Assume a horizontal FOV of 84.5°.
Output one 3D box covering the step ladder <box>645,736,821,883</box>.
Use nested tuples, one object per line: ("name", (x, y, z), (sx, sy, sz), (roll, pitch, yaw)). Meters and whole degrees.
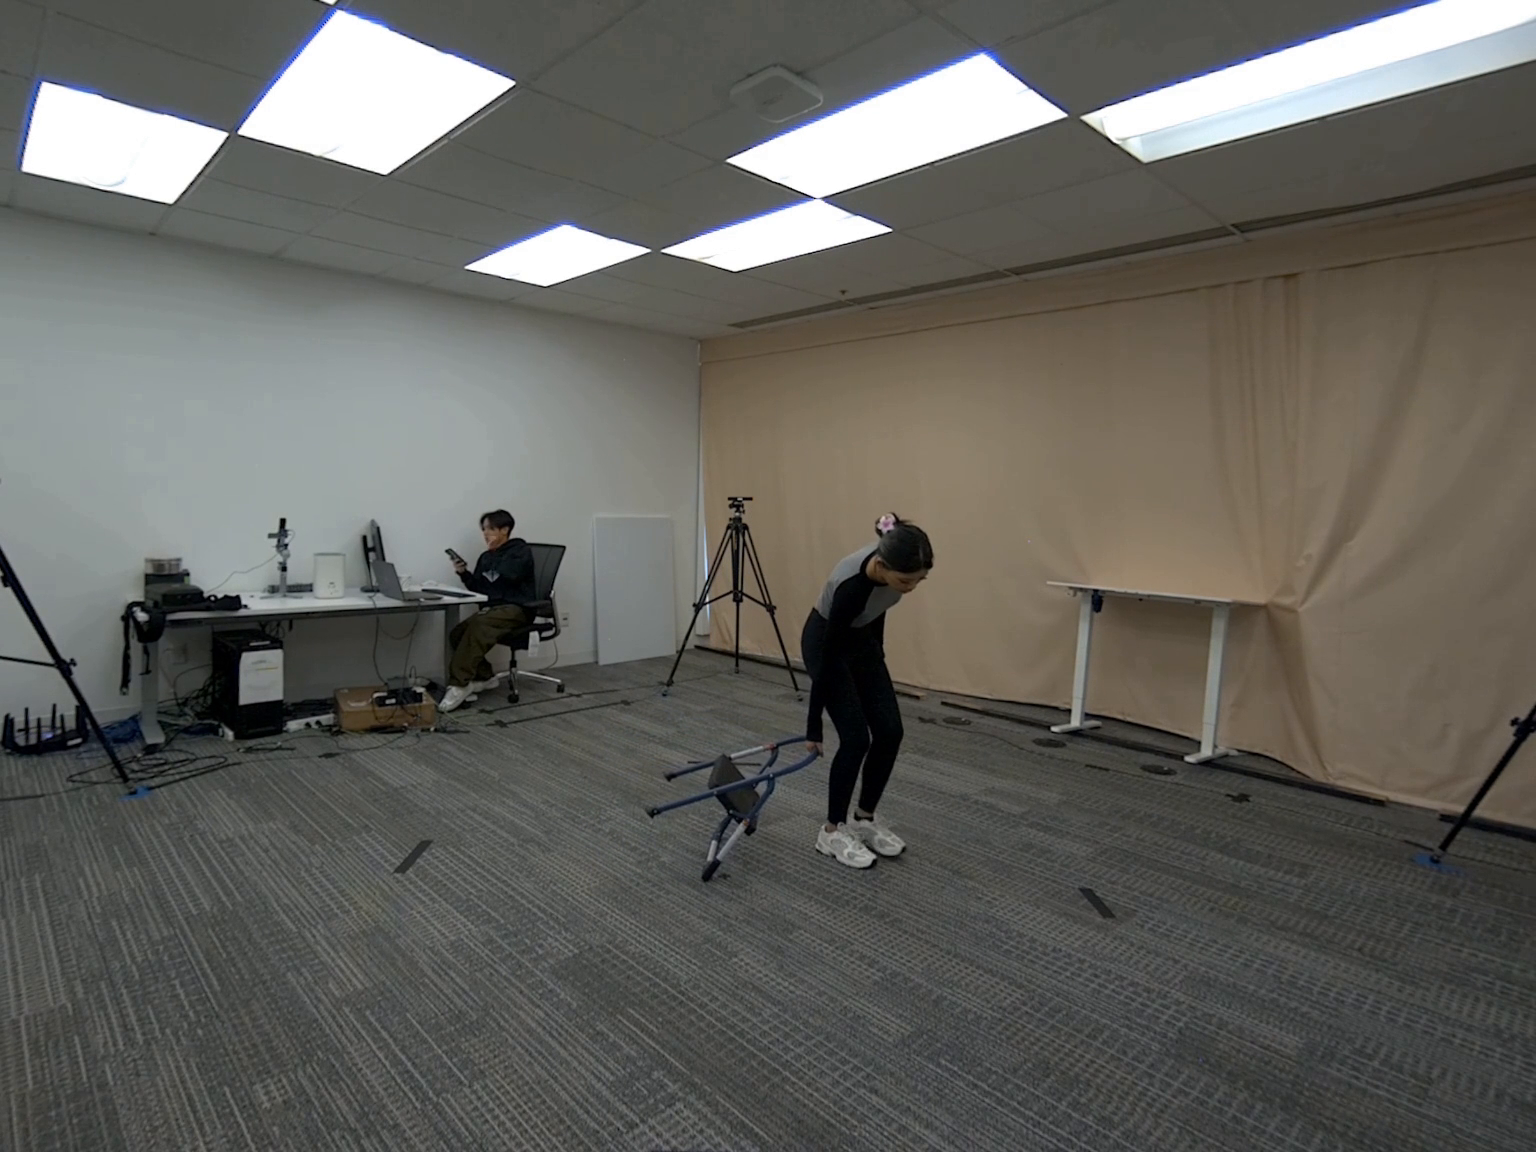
("step ladder", (-0.102, 0.777, 3.220), (0.606, 0.349, 0.430), (-39, 1, 6))
